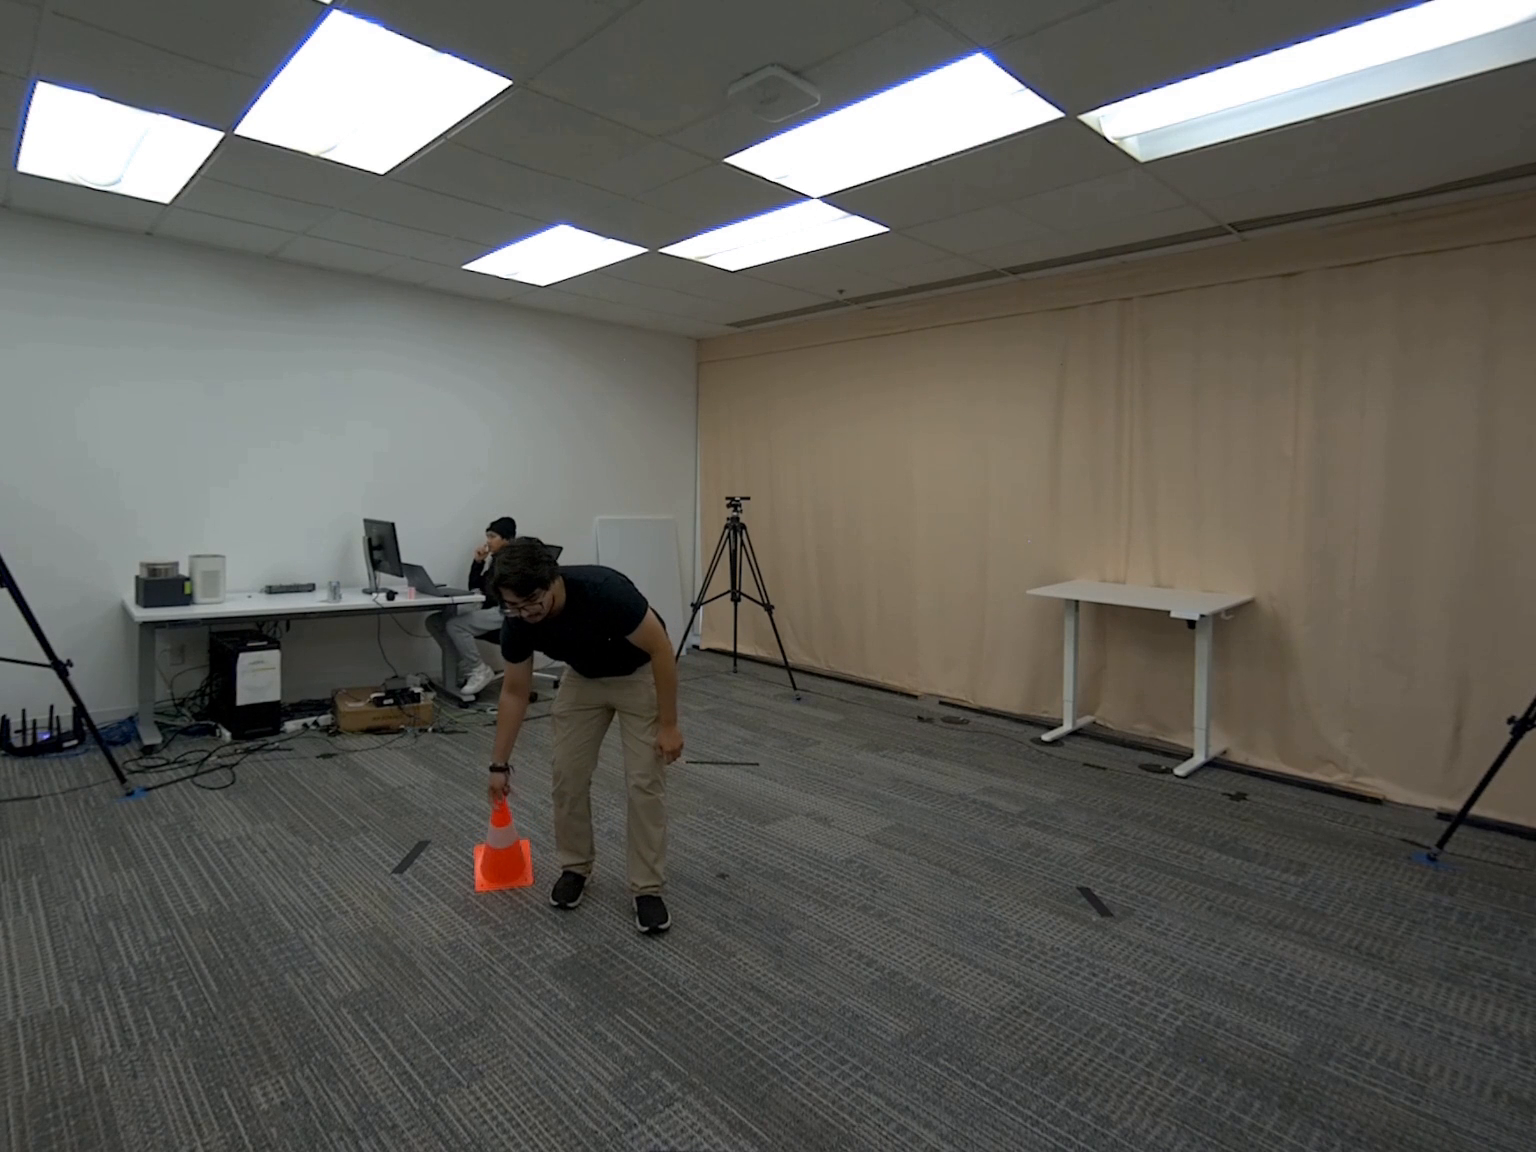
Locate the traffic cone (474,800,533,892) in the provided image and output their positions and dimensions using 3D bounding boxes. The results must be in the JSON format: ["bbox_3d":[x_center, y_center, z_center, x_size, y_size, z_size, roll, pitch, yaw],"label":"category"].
[{"bbox_3d":[-0.940,0.901,2.950,0.201,0.377,0.211,-2,33,-17],"label":"traffic cone"}]
